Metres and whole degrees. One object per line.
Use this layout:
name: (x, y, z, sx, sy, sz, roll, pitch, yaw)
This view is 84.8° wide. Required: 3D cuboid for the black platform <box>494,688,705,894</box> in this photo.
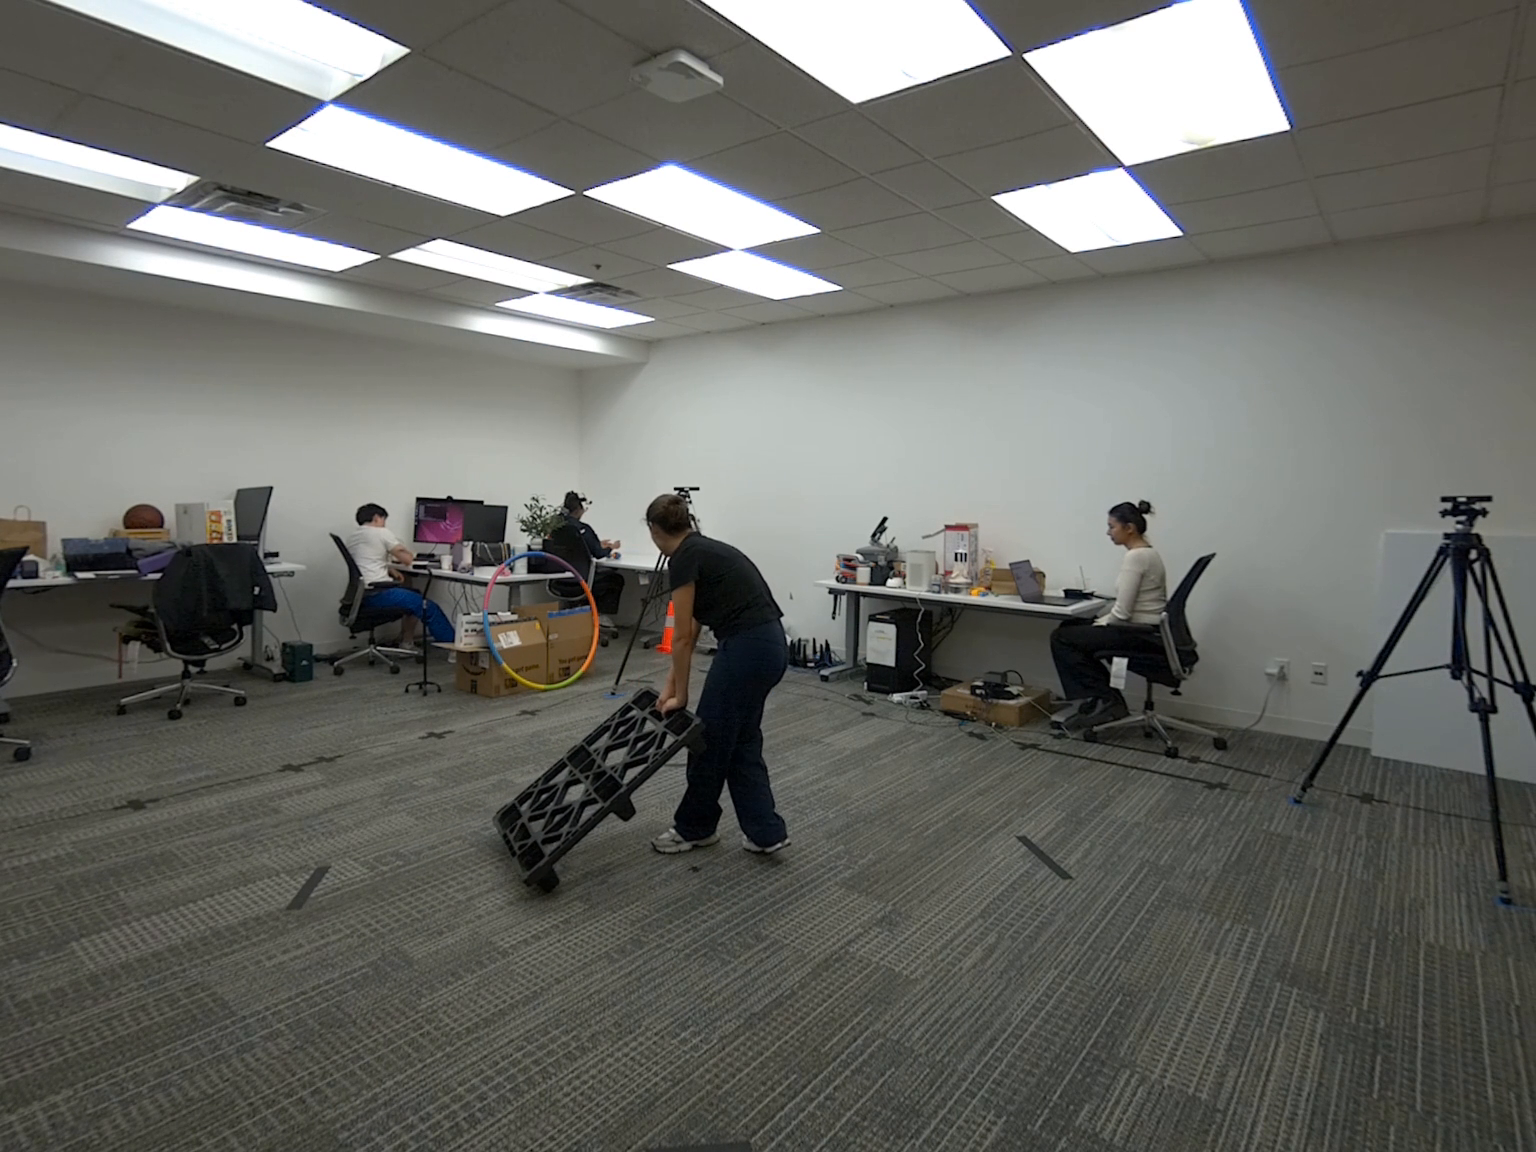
black platform: (-0.610, 0.776, 3.219, 0.803, 0.140, 0.622, -41, 21, -17)
